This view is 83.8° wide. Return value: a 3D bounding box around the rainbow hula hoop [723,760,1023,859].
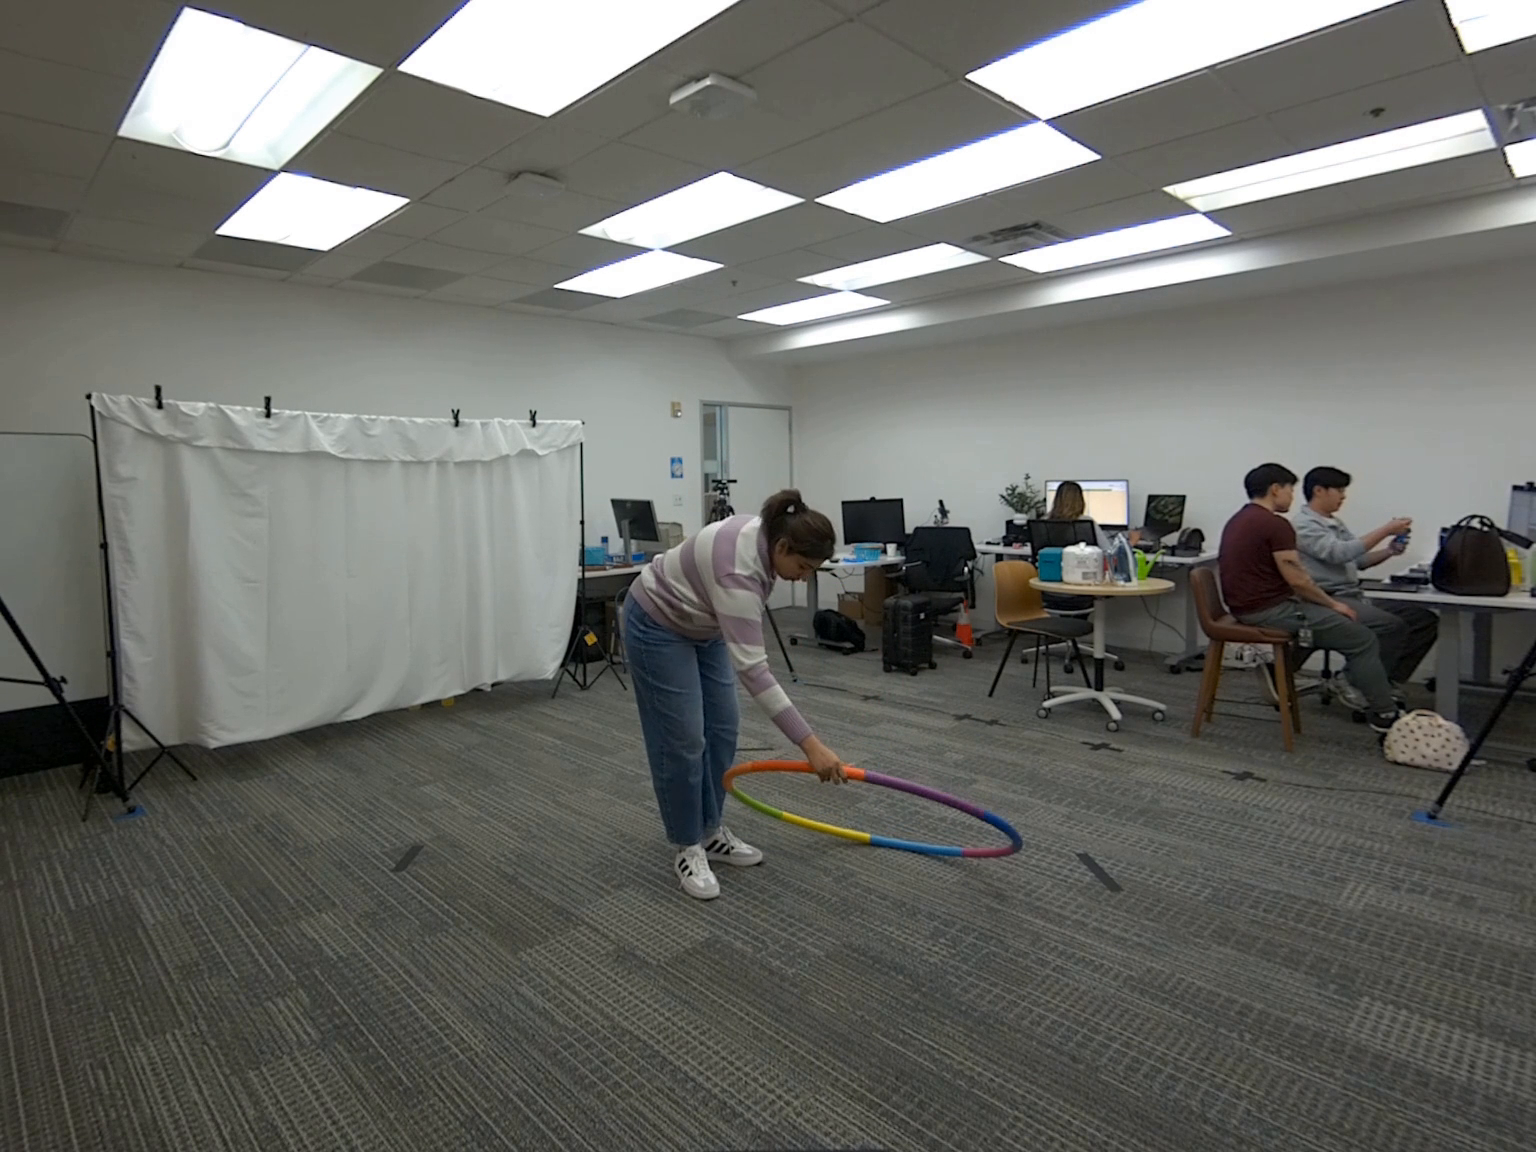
[{"bbox_3d":[0.346,0.793,2.855,0.992,0.052,0.965,13,-25,5],"label":"rainbow hula hoop"}]
